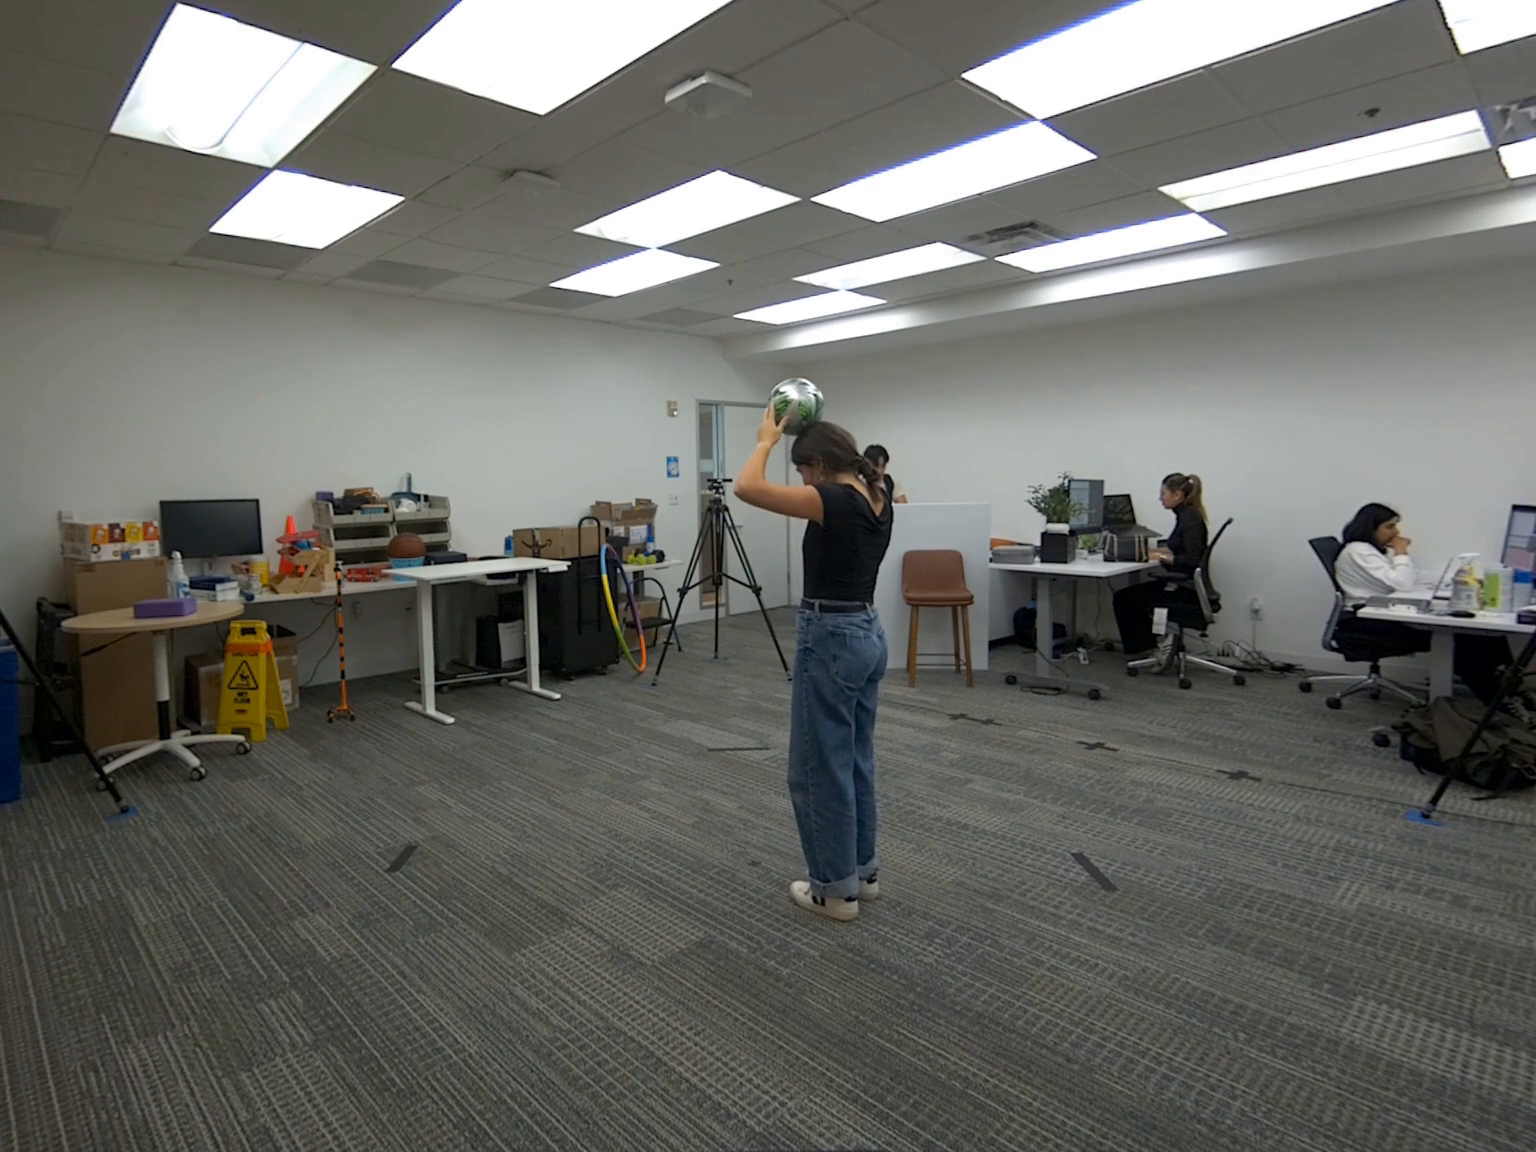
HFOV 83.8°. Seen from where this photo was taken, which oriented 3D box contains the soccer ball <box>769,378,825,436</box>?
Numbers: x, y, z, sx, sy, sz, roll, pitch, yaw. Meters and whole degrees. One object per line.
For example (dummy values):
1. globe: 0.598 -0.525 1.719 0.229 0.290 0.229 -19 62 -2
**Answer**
1. soccer ball: 0.093 -0.551 2.815 0.187 0.187 0.188 -1 5 -2
